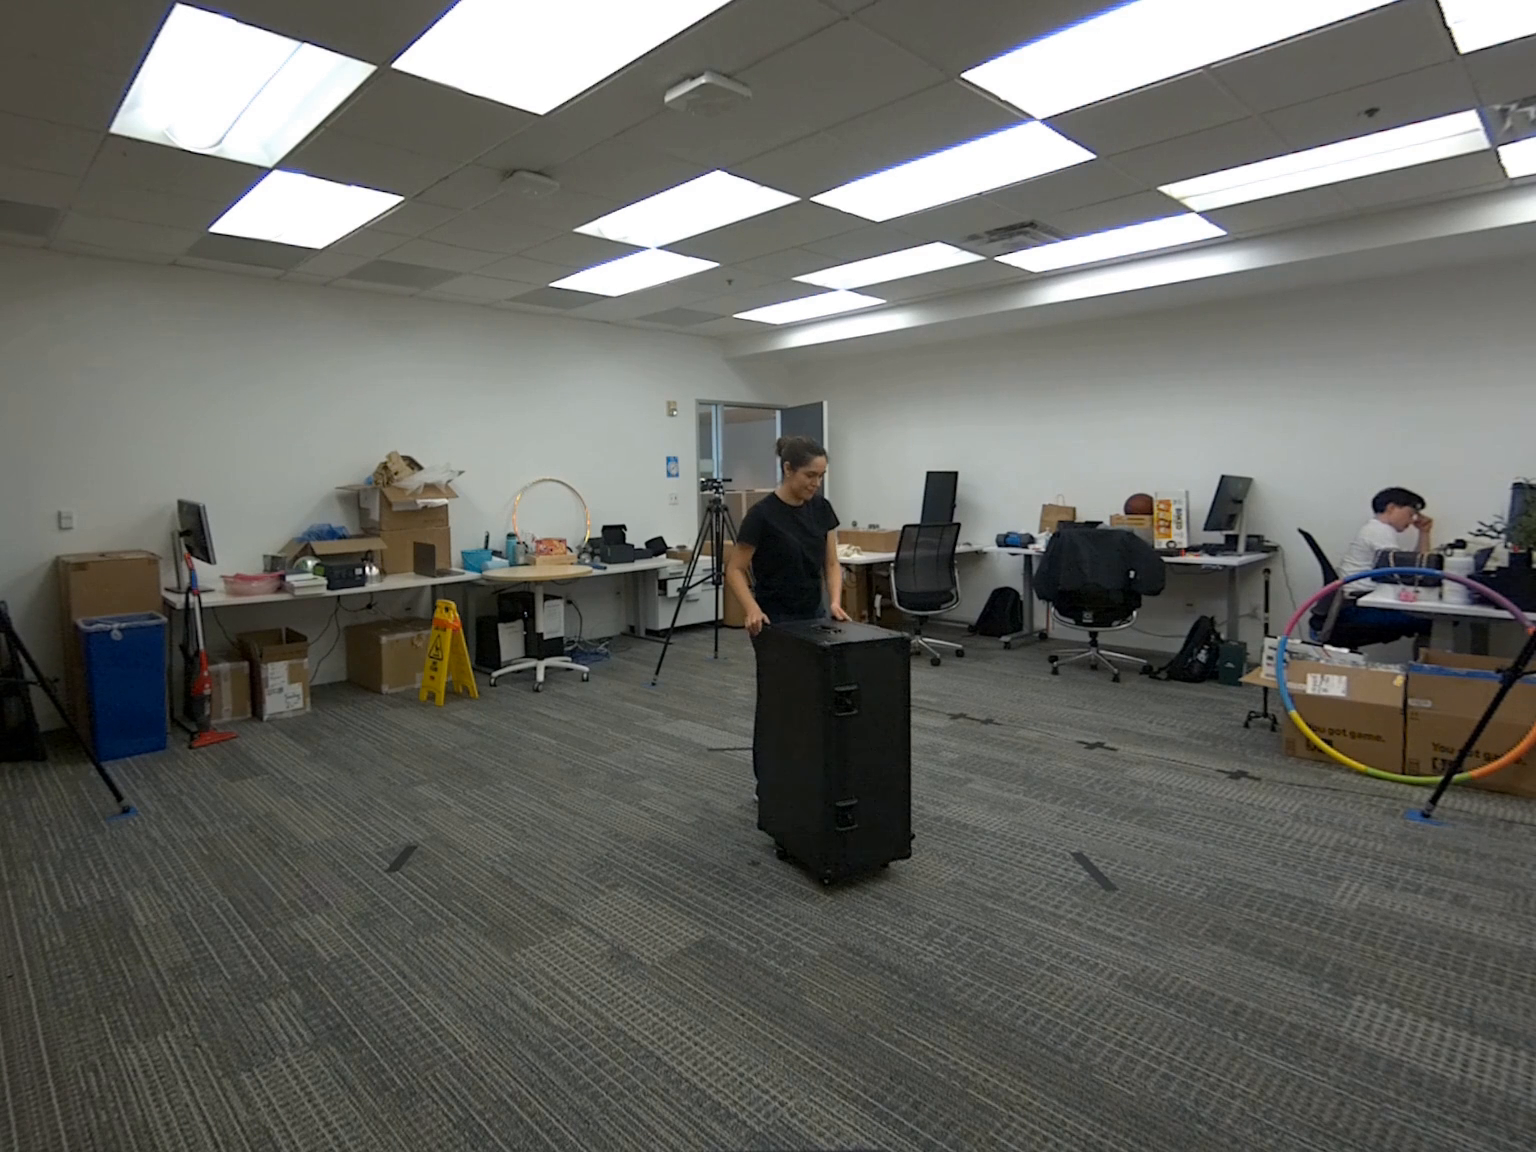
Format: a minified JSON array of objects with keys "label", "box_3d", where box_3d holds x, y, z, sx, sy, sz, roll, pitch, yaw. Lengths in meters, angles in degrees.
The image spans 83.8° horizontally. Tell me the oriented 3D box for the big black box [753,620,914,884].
[{"label":"big black box","box_3d":[0.231,0.618,3.113,0.387,0.859,0.535,-1,3,-28]}]
